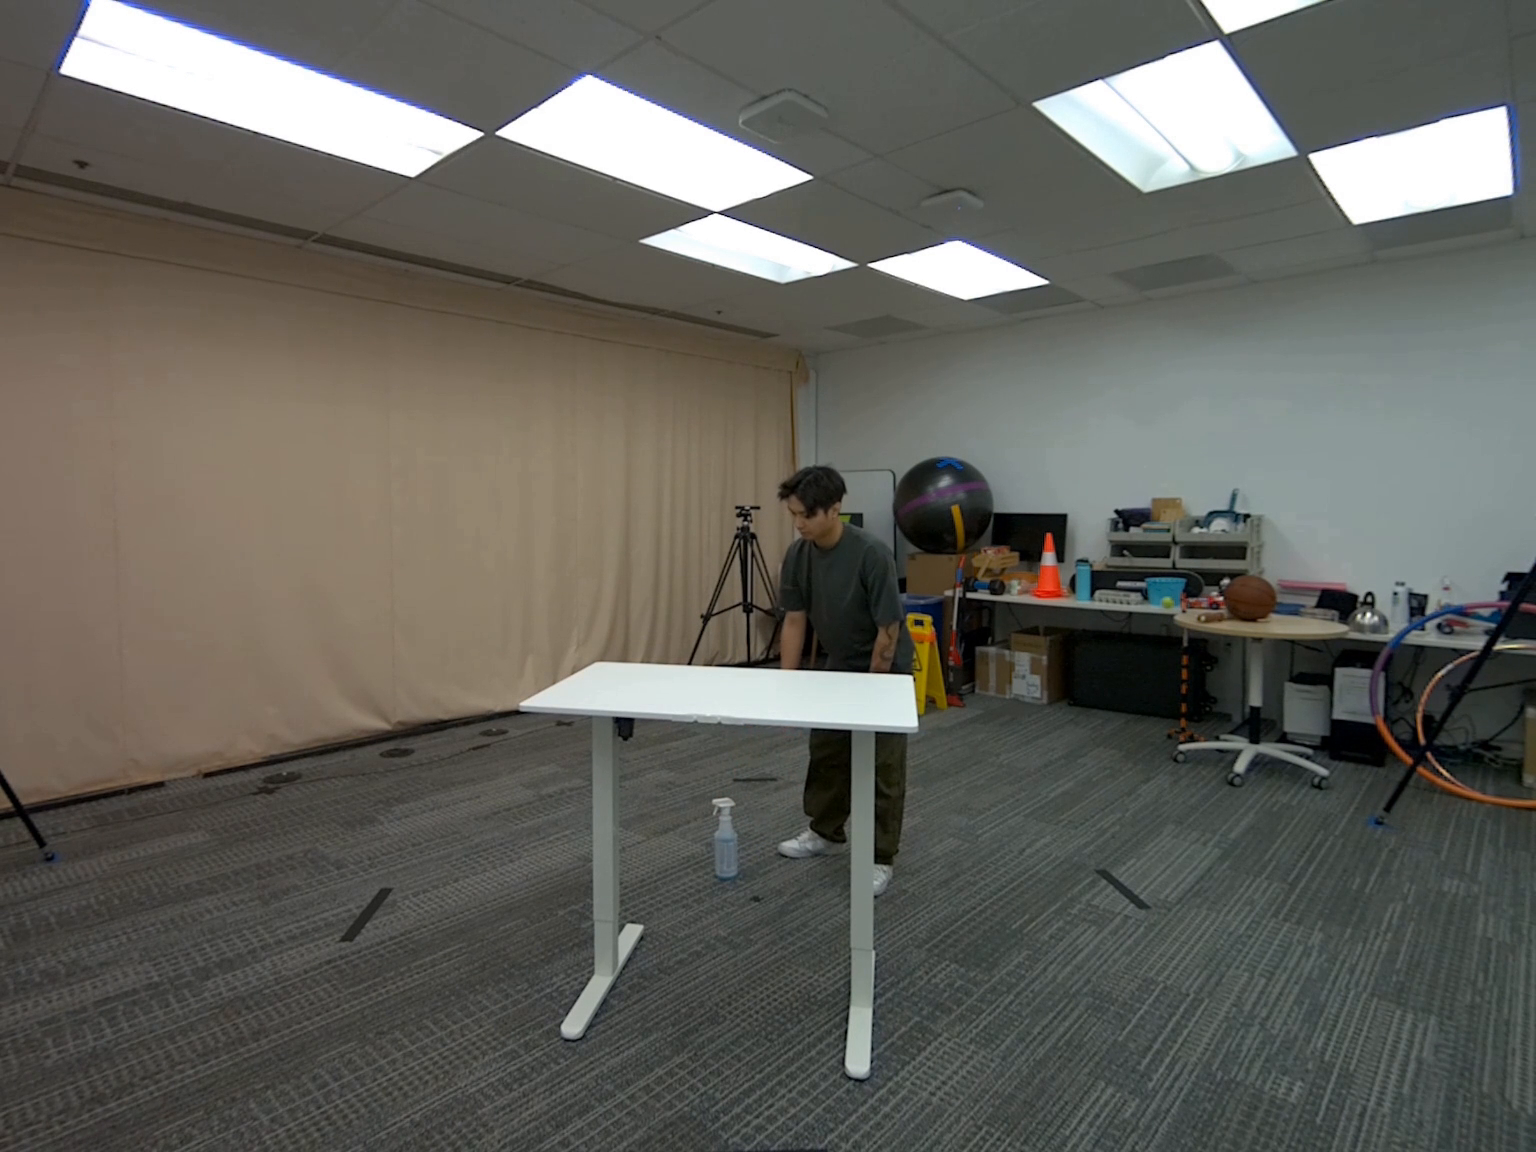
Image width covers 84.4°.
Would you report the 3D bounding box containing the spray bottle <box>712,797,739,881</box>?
[{"bbox_3d":[-0.158,0.987,3.166,0.090,0.296,0.087,-2,4,-1],"label":"spray bottle"}]
